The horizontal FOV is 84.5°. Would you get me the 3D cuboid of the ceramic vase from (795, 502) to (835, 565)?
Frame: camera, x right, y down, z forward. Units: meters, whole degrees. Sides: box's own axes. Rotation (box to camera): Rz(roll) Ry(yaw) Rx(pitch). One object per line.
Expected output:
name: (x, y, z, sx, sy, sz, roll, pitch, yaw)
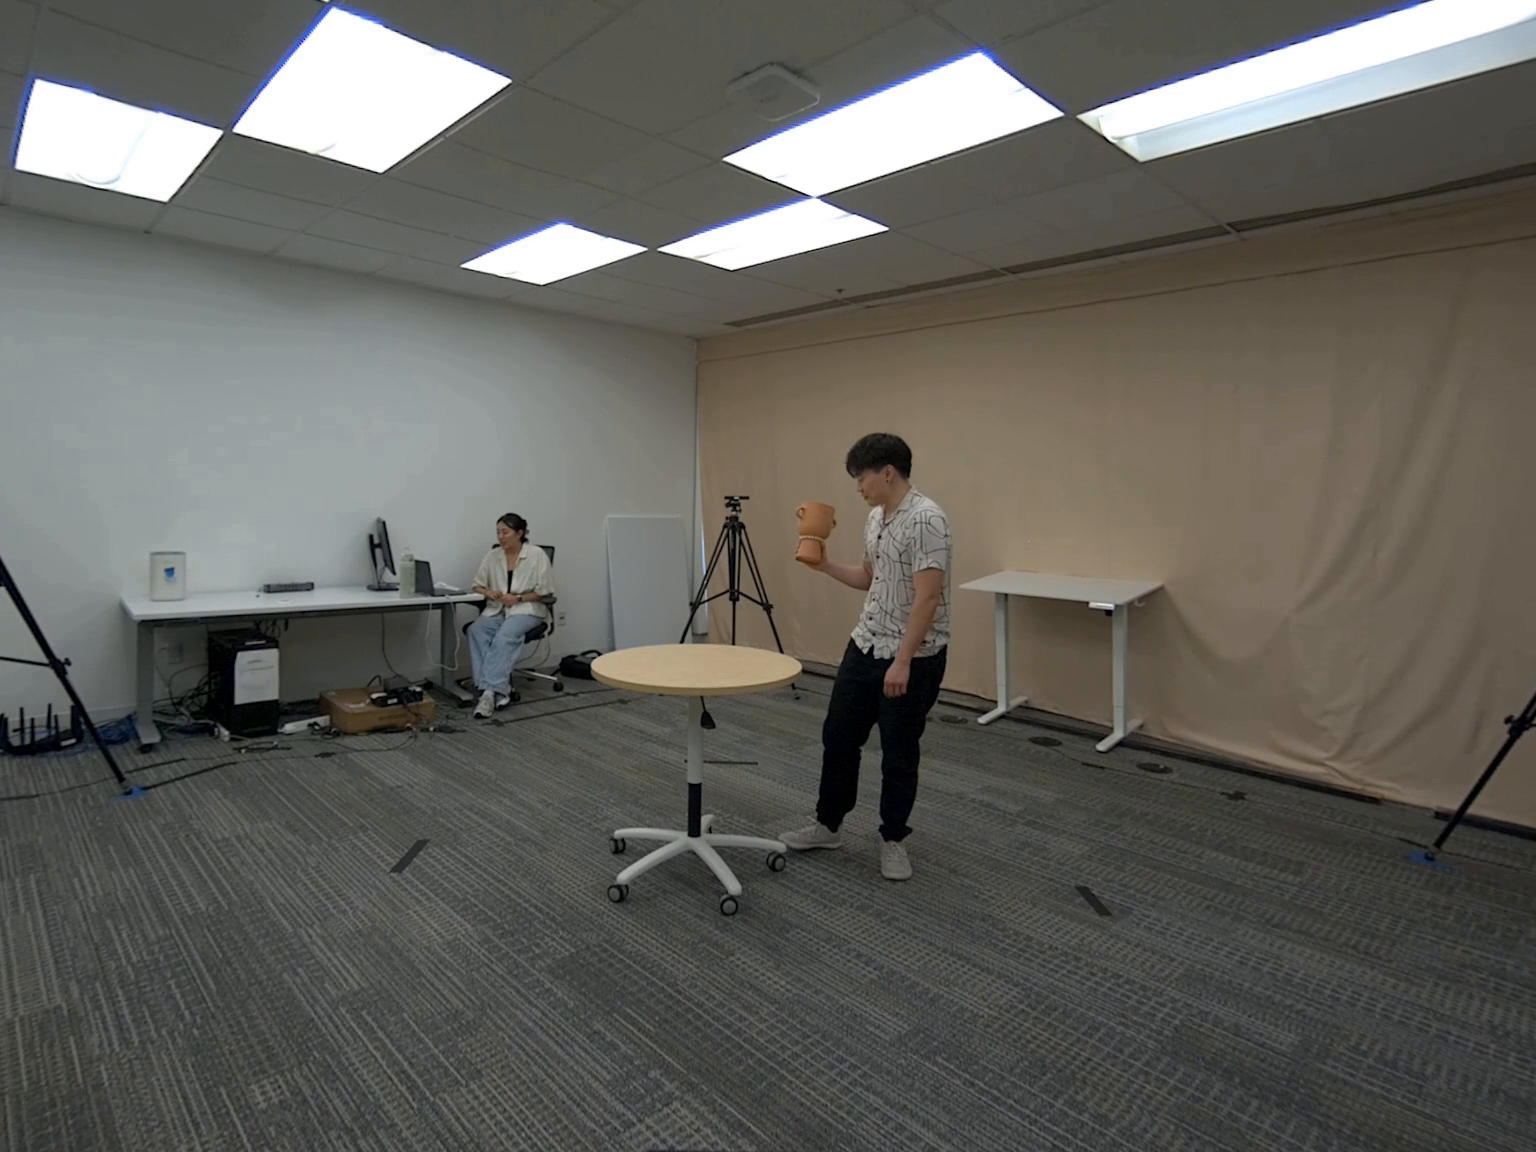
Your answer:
ceramic vase: (0.170, -0.173, 3.322, 0.160, 0.221, 0.133, 8, -8, 7)
